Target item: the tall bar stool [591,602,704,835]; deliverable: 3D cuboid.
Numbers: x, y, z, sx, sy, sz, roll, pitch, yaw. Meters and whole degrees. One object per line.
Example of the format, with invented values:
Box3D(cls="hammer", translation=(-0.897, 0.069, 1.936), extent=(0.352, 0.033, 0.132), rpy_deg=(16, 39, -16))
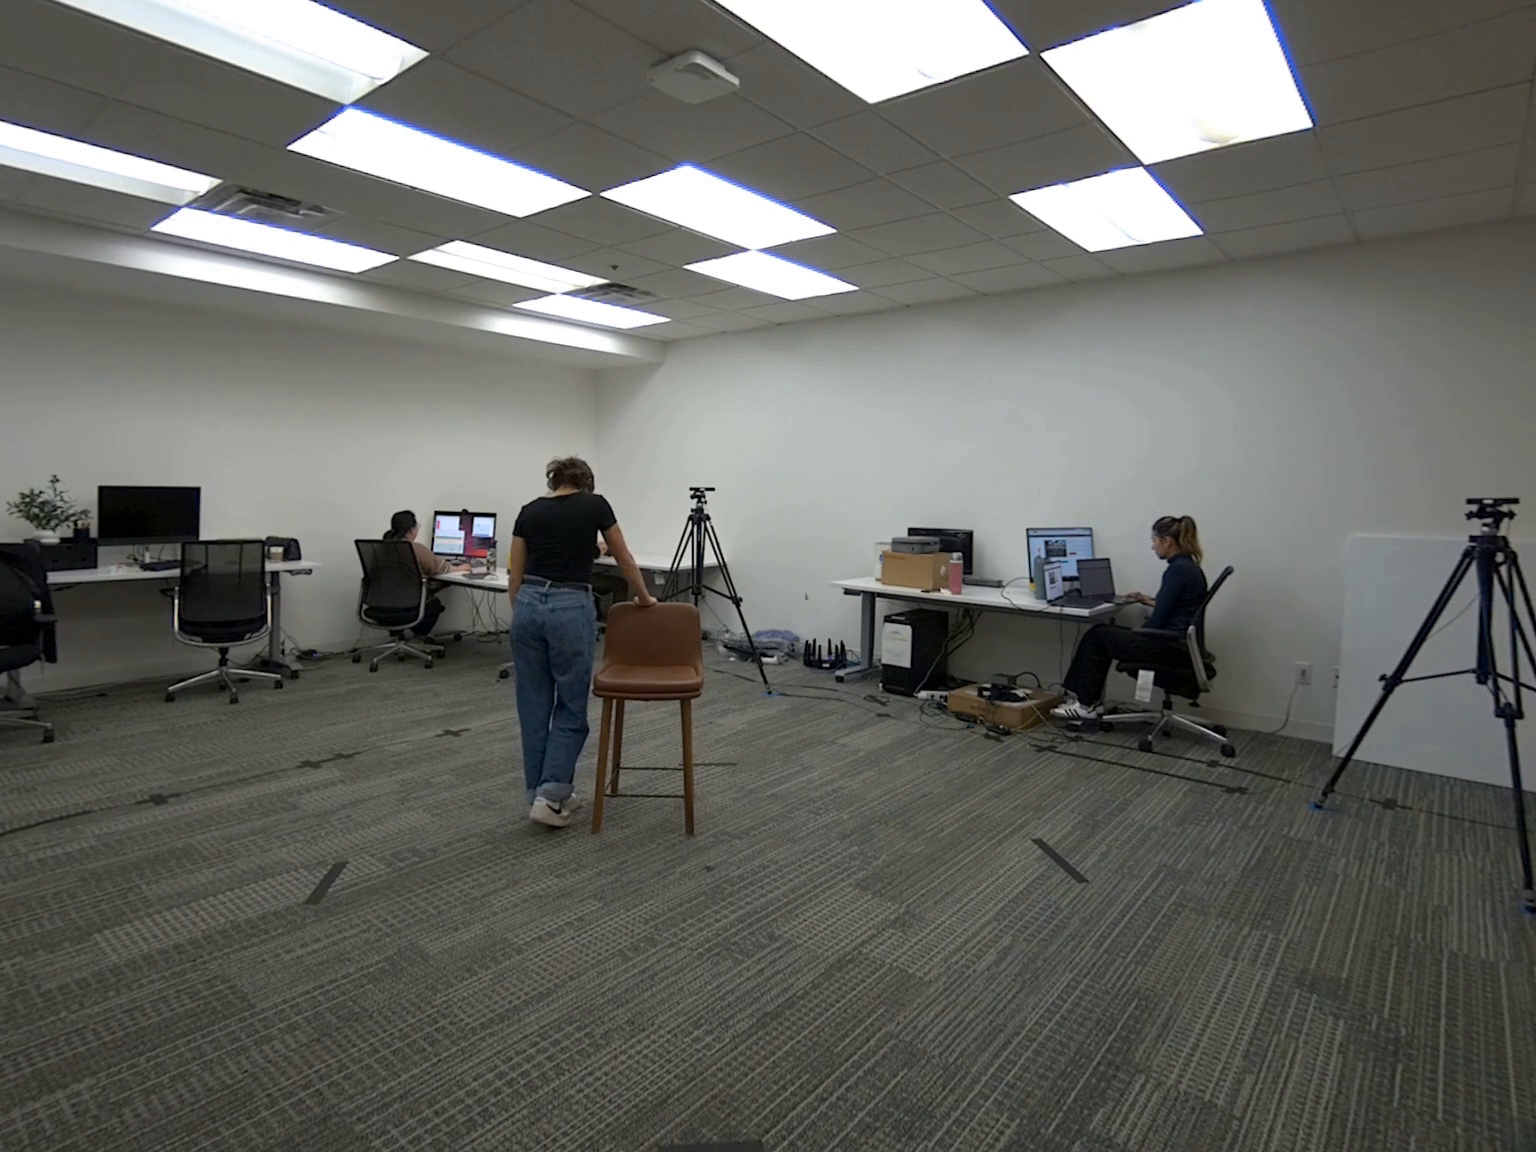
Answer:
Box3D(cls="tall bar stool", translation=(-0.513, 0.577, 3.612), extent=(0.456, 0.889, 0.468), rpy_deg=(1, 1, -1))
